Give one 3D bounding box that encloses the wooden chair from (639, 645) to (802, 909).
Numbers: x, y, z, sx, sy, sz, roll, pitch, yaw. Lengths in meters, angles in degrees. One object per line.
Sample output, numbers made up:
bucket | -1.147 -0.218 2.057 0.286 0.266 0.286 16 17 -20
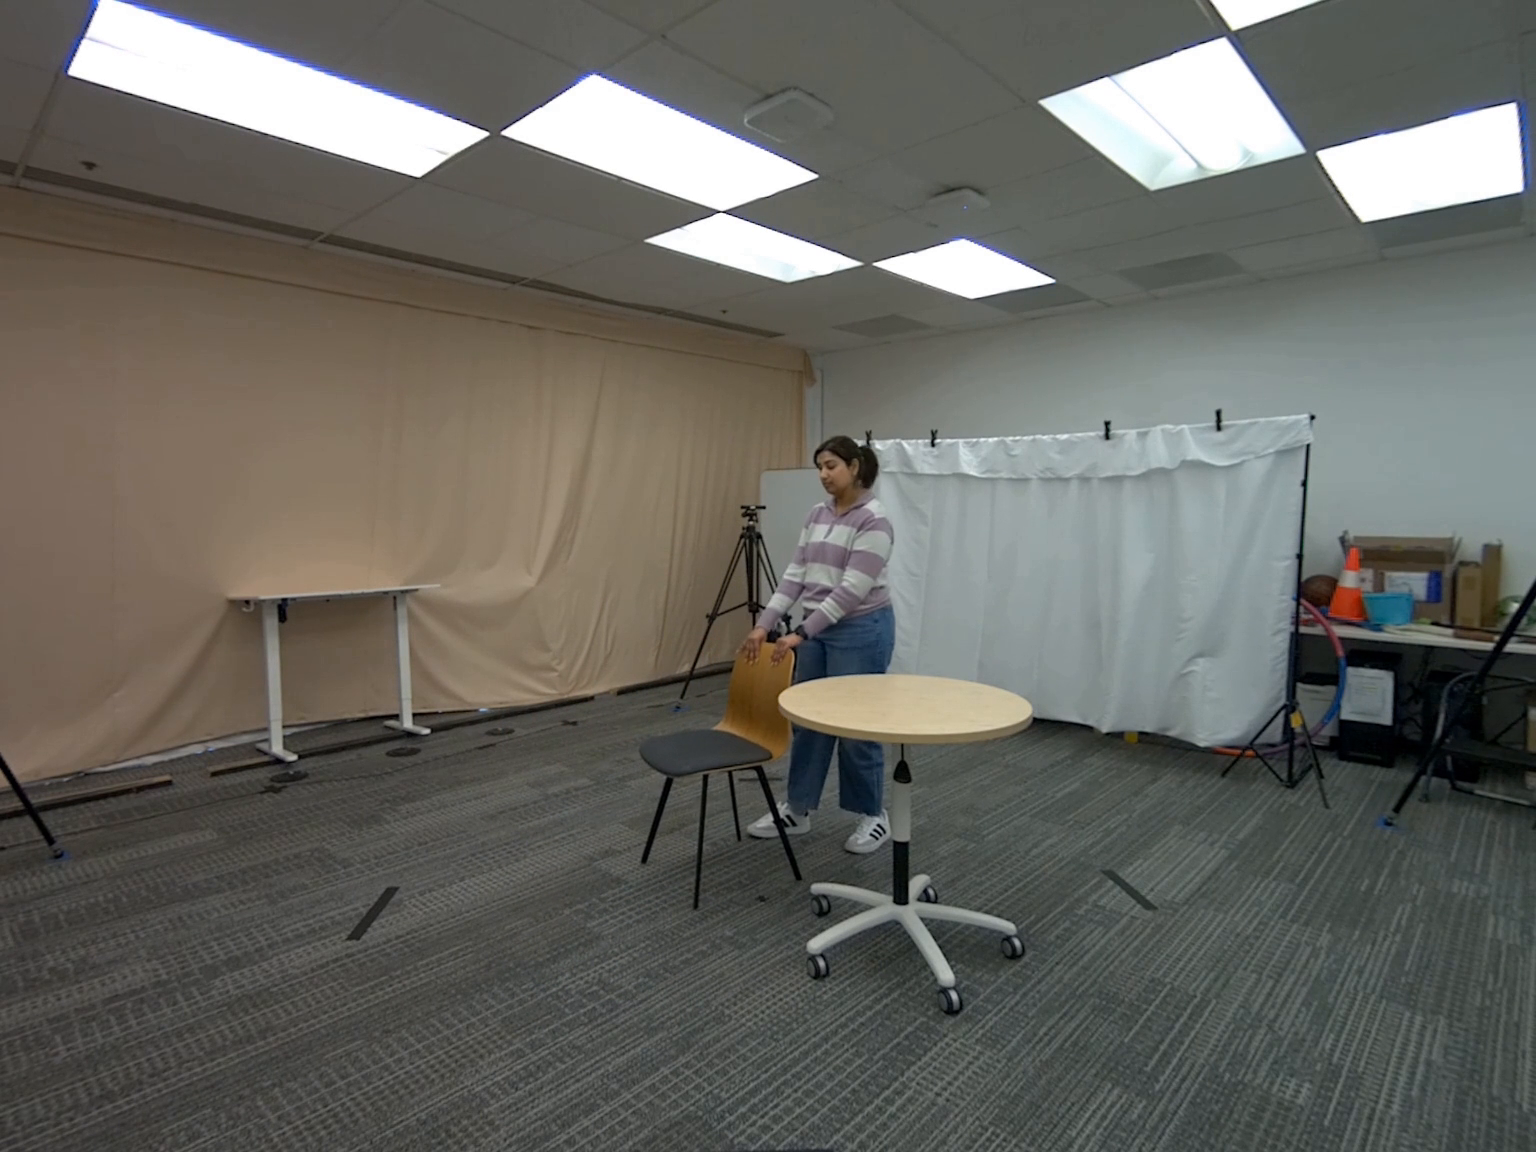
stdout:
wooden chair | -0.190 0.700 3.174 0.508 0.877 0.492 3 2 -31
